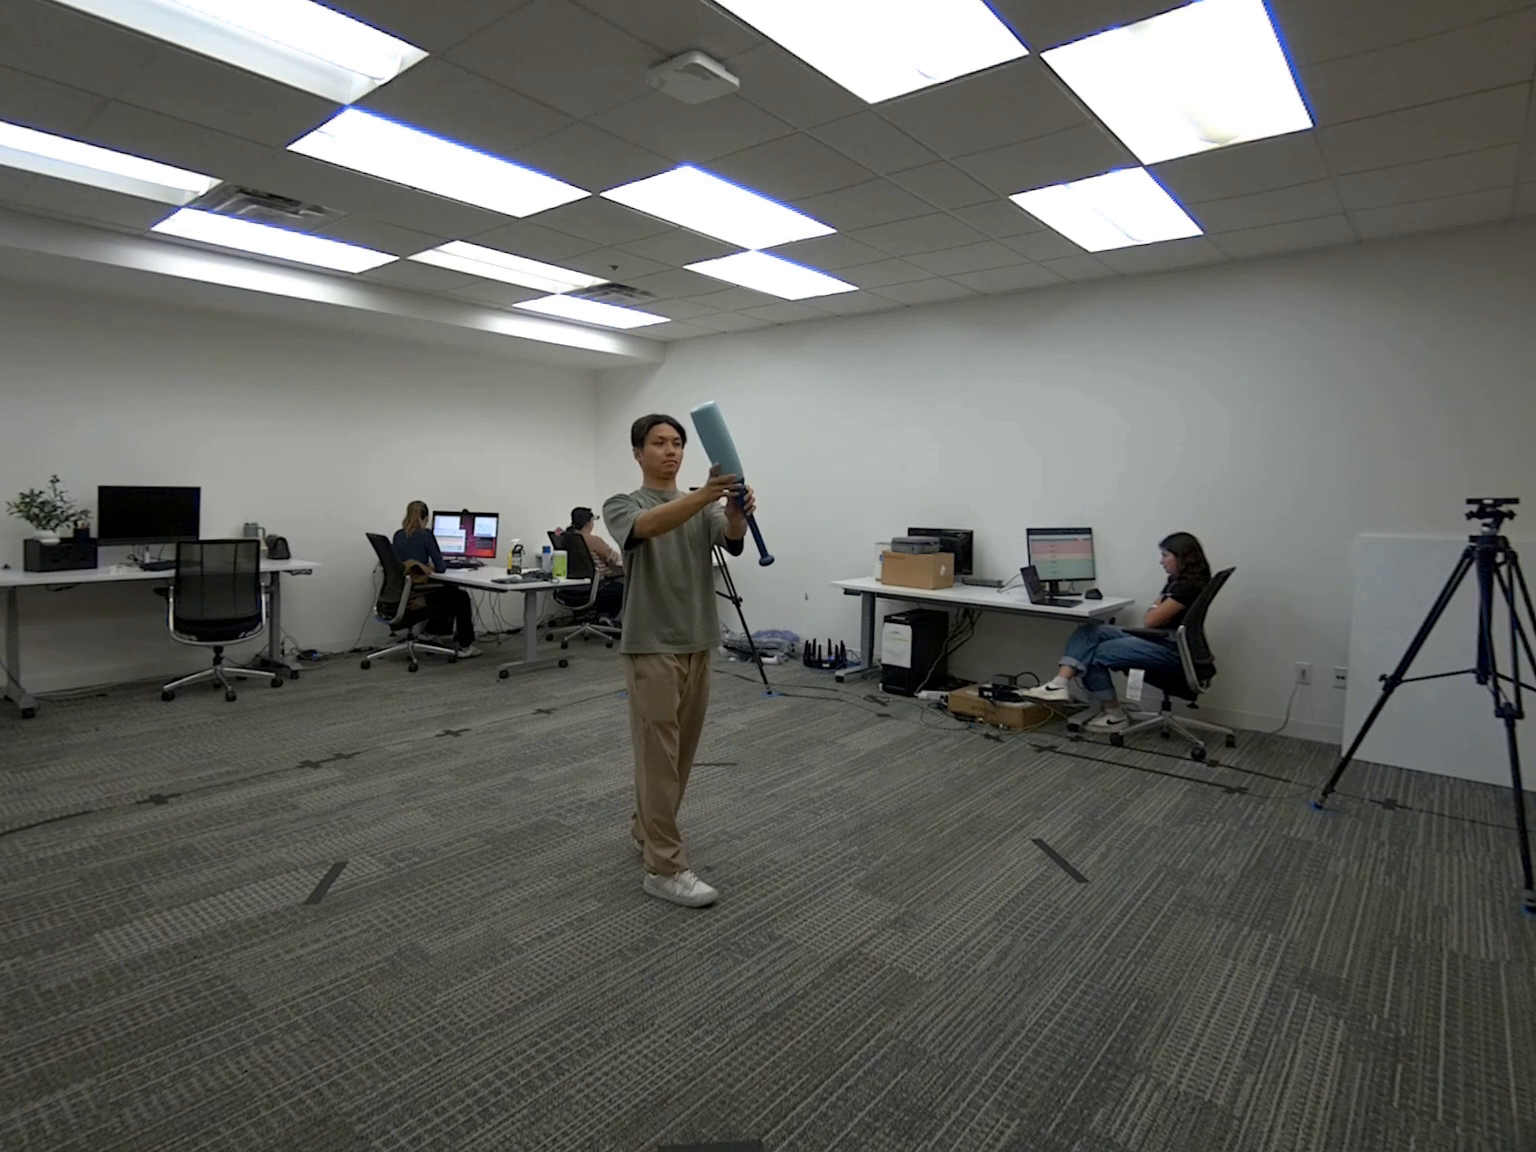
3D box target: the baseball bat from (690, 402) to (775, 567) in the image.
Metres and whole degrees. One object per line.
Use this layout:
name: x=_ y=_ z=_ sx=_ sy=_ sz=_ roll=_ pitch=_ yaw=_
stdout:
baseball bat: x=-0.105 y=-0.276 z=2.601 sx=0.089 sy=0.533 sz=0.090 roll=-20 pitch=15 yaw=4
